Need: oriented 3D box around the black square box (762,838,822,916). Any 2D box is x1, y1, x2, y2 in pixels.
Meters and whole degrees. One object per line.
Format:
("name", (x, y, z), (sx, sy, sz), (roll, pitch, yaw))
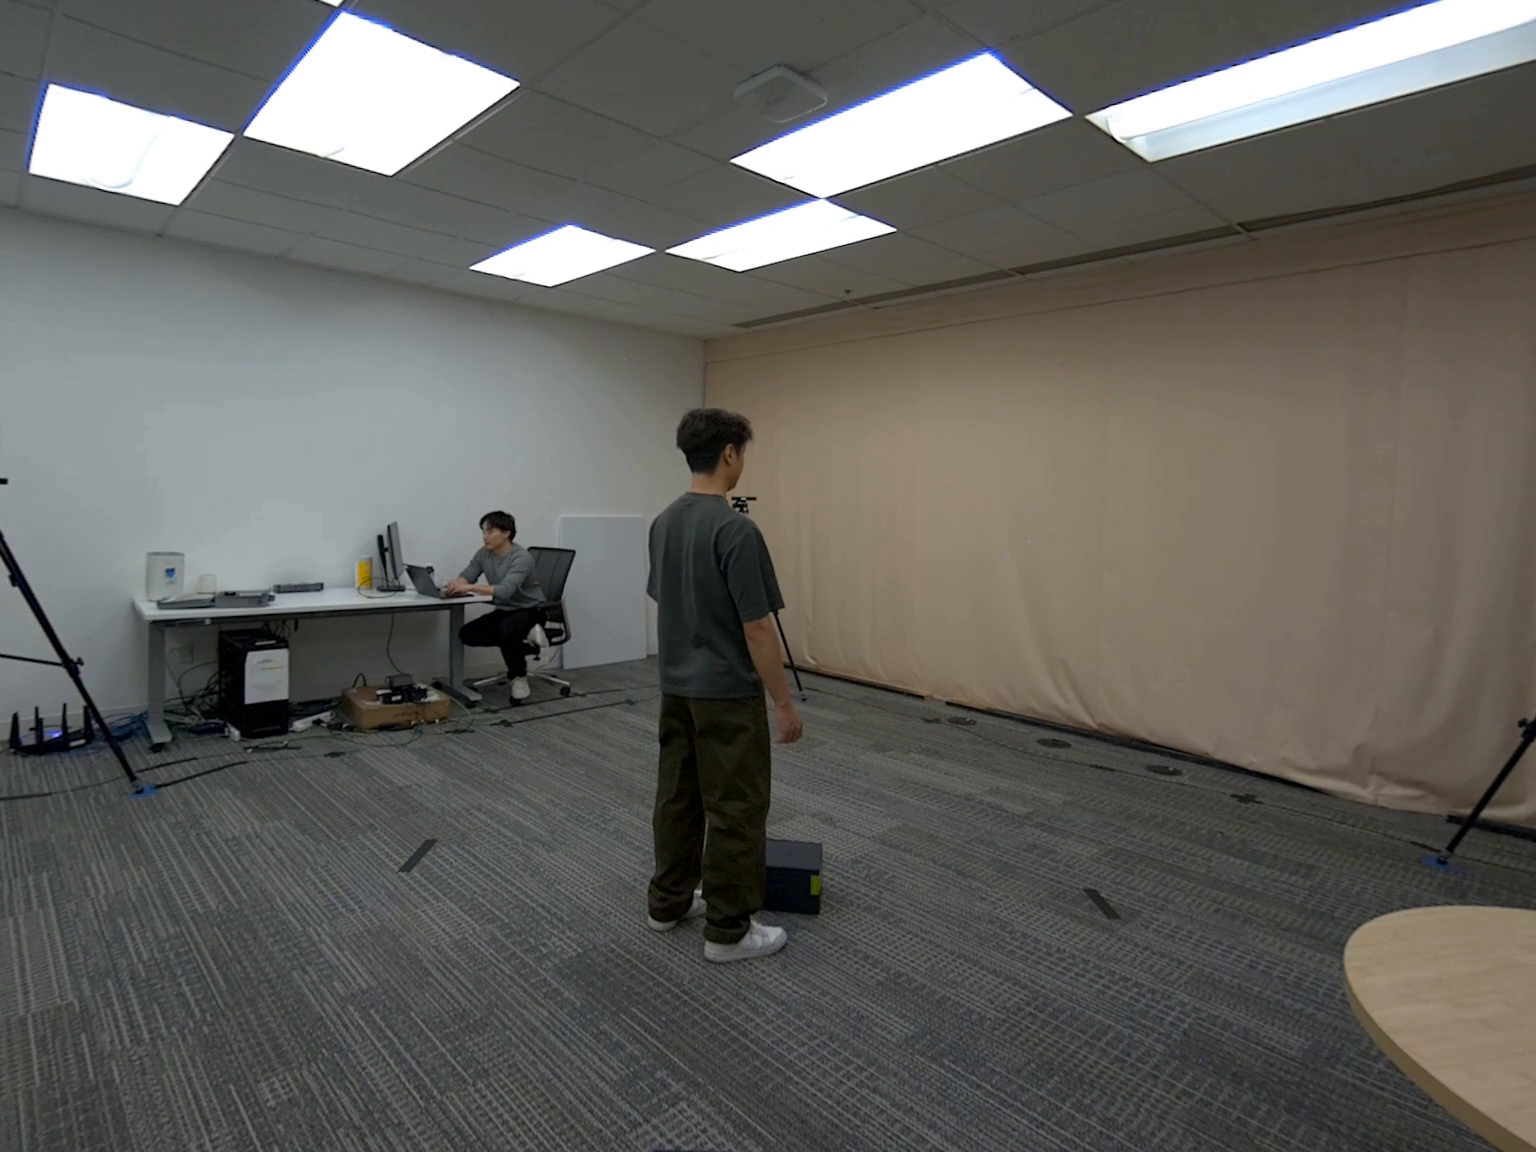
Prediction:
("black square box", (0.075, 1.043, 2.939), (0.218, 0.155, 0.227), (1, 4, 7))
